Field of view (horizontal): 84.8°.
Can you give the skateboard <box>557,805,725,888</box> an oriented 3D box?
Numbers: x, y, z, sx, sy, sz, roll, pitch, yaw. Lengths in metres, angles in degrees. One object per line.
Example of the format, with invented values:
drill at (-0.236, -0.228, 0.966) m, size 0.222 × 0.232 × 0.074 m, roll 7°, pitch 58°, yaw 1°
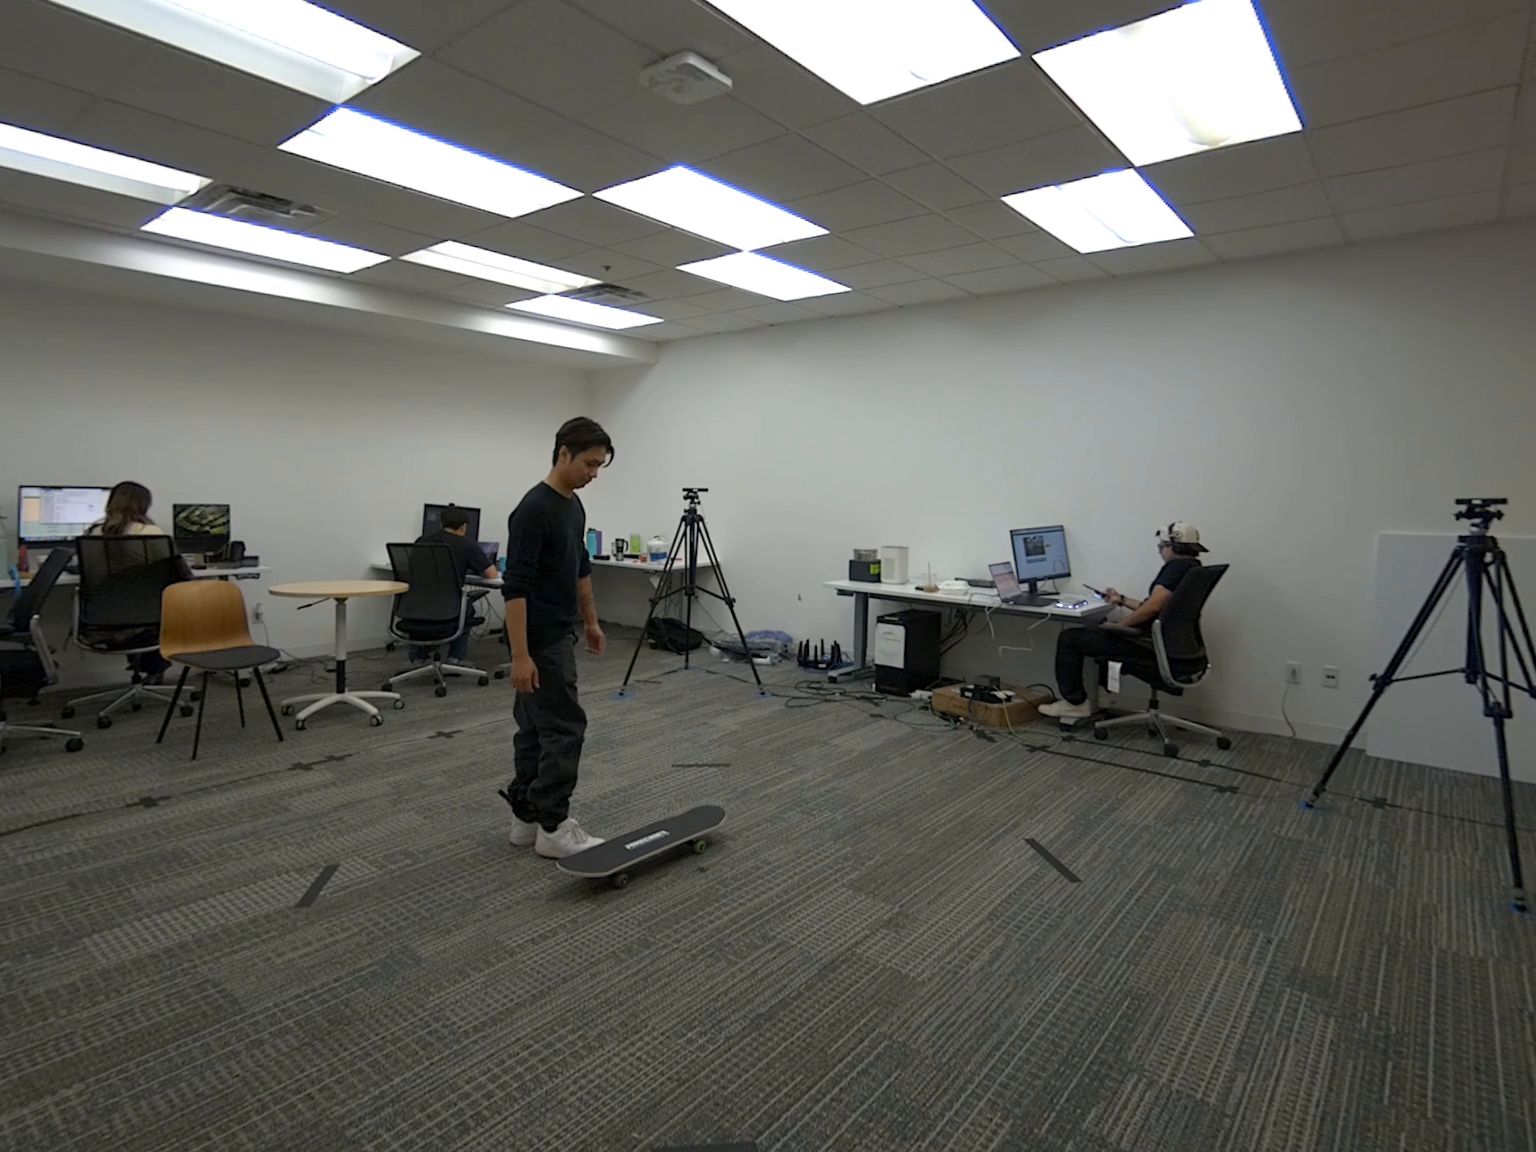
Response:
skateboard at (-0.457, 1.006, 3.149) m, size 0.200 × 0.110 × 0.762 m, roll 6°, pitch 8°, yaw 40°
